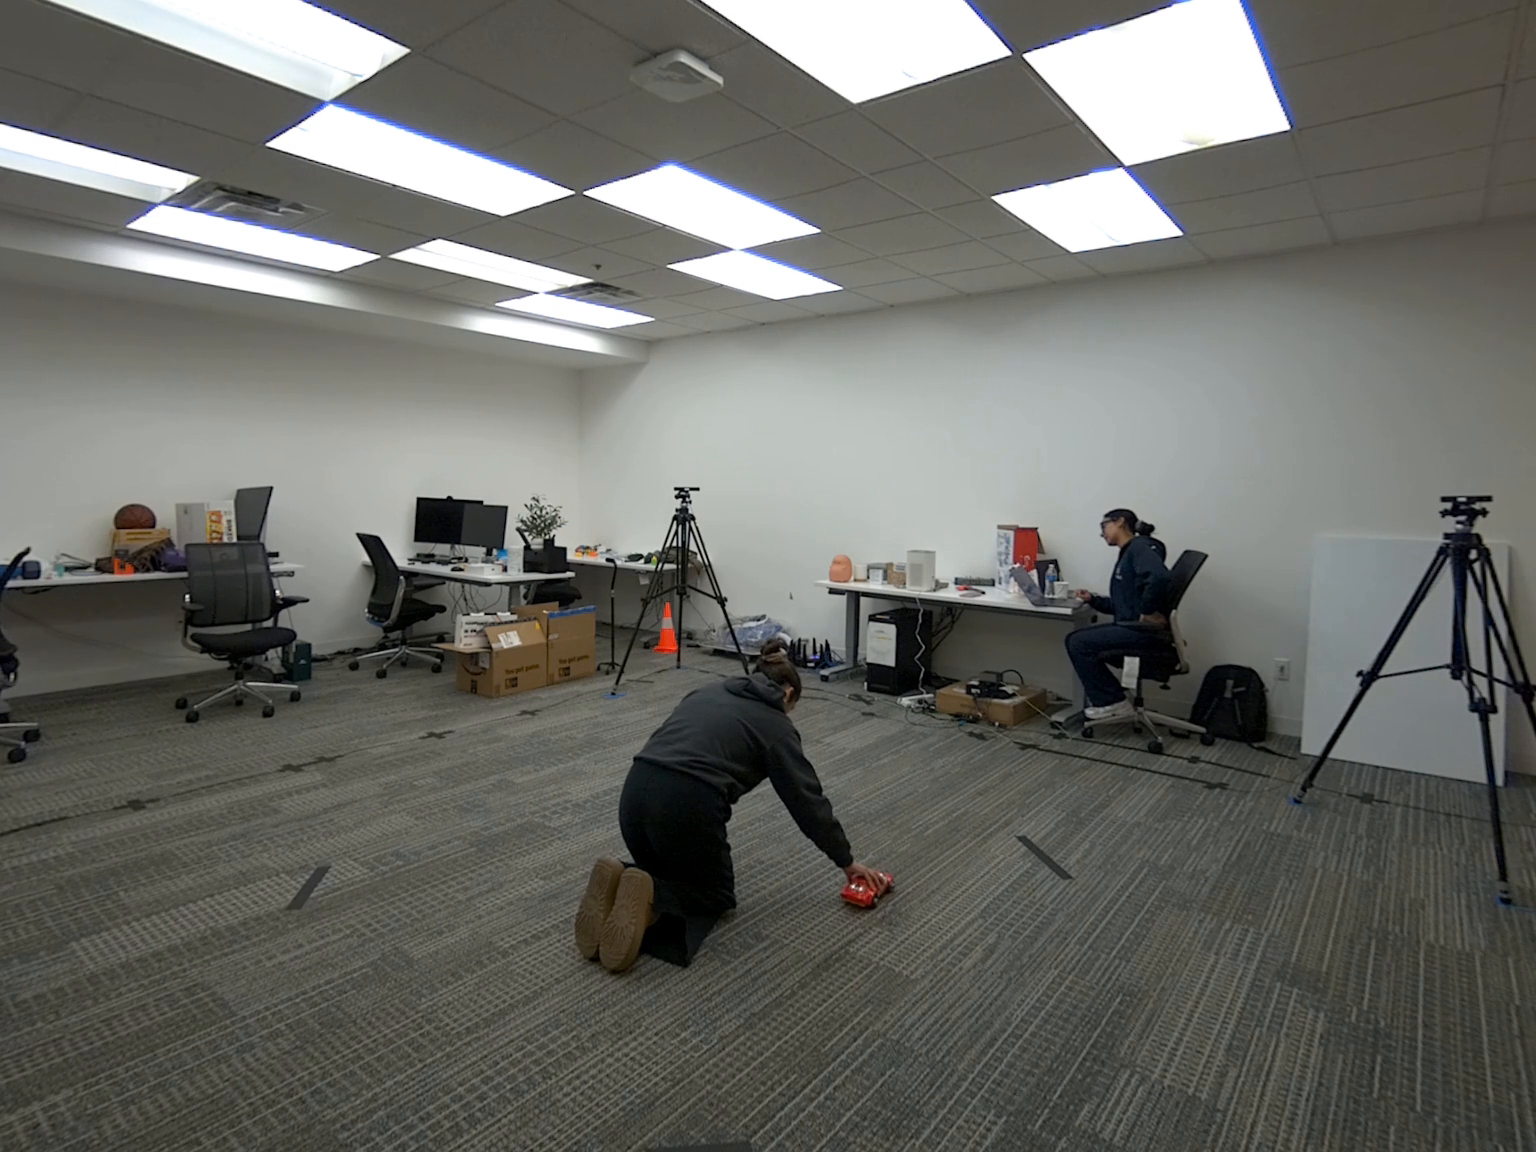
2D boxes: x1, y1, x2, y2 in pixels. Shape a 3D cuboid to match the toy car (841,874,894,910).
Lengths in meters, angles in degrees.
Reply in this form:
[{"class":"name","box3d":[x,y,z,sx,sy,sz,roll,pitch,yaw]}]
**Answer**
[{"class":"toy car","box3d":[0.340,1.068,2.906,0.134,0.083,0.246,4,-4,32]}]
